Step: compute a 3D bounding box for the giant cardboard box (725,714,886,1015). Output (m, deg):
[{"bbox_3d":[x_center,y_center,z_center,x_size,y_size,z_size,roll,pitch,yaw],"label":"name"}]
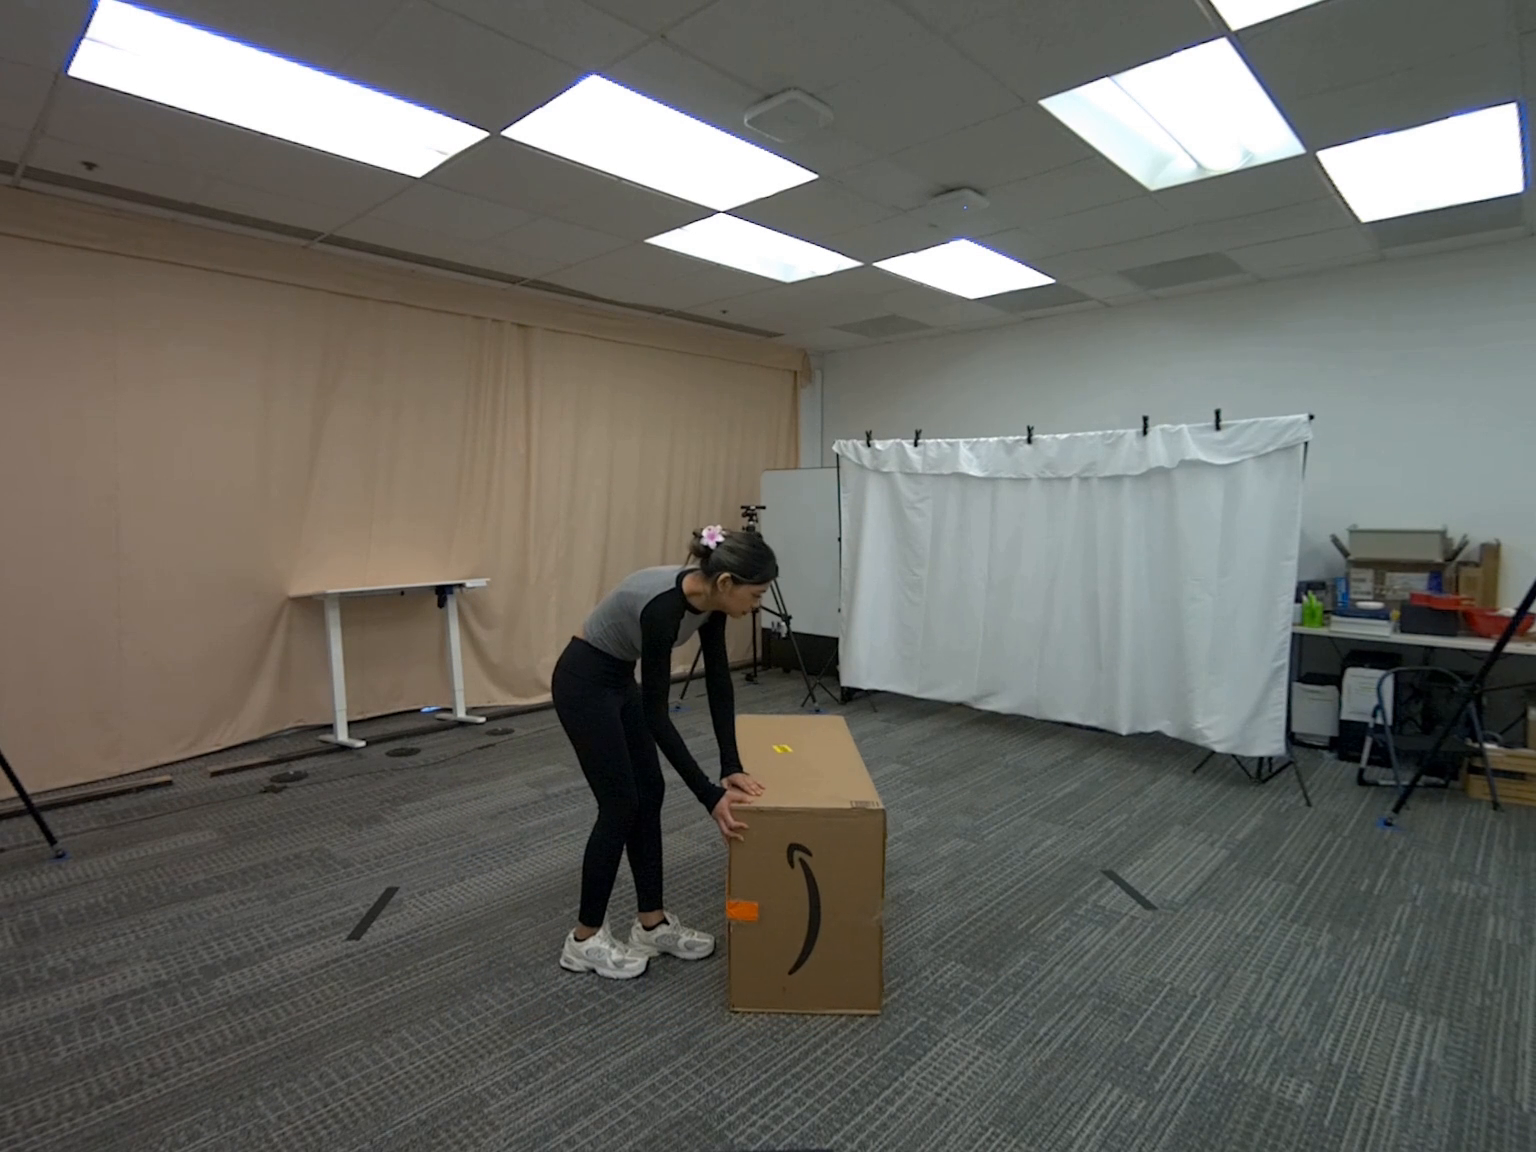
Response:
[{"bbox_3d":[0.098,0.870,2.801,0.447,0.582,1.029,-1,4,-2],"label":"giant cardboard box"}]
